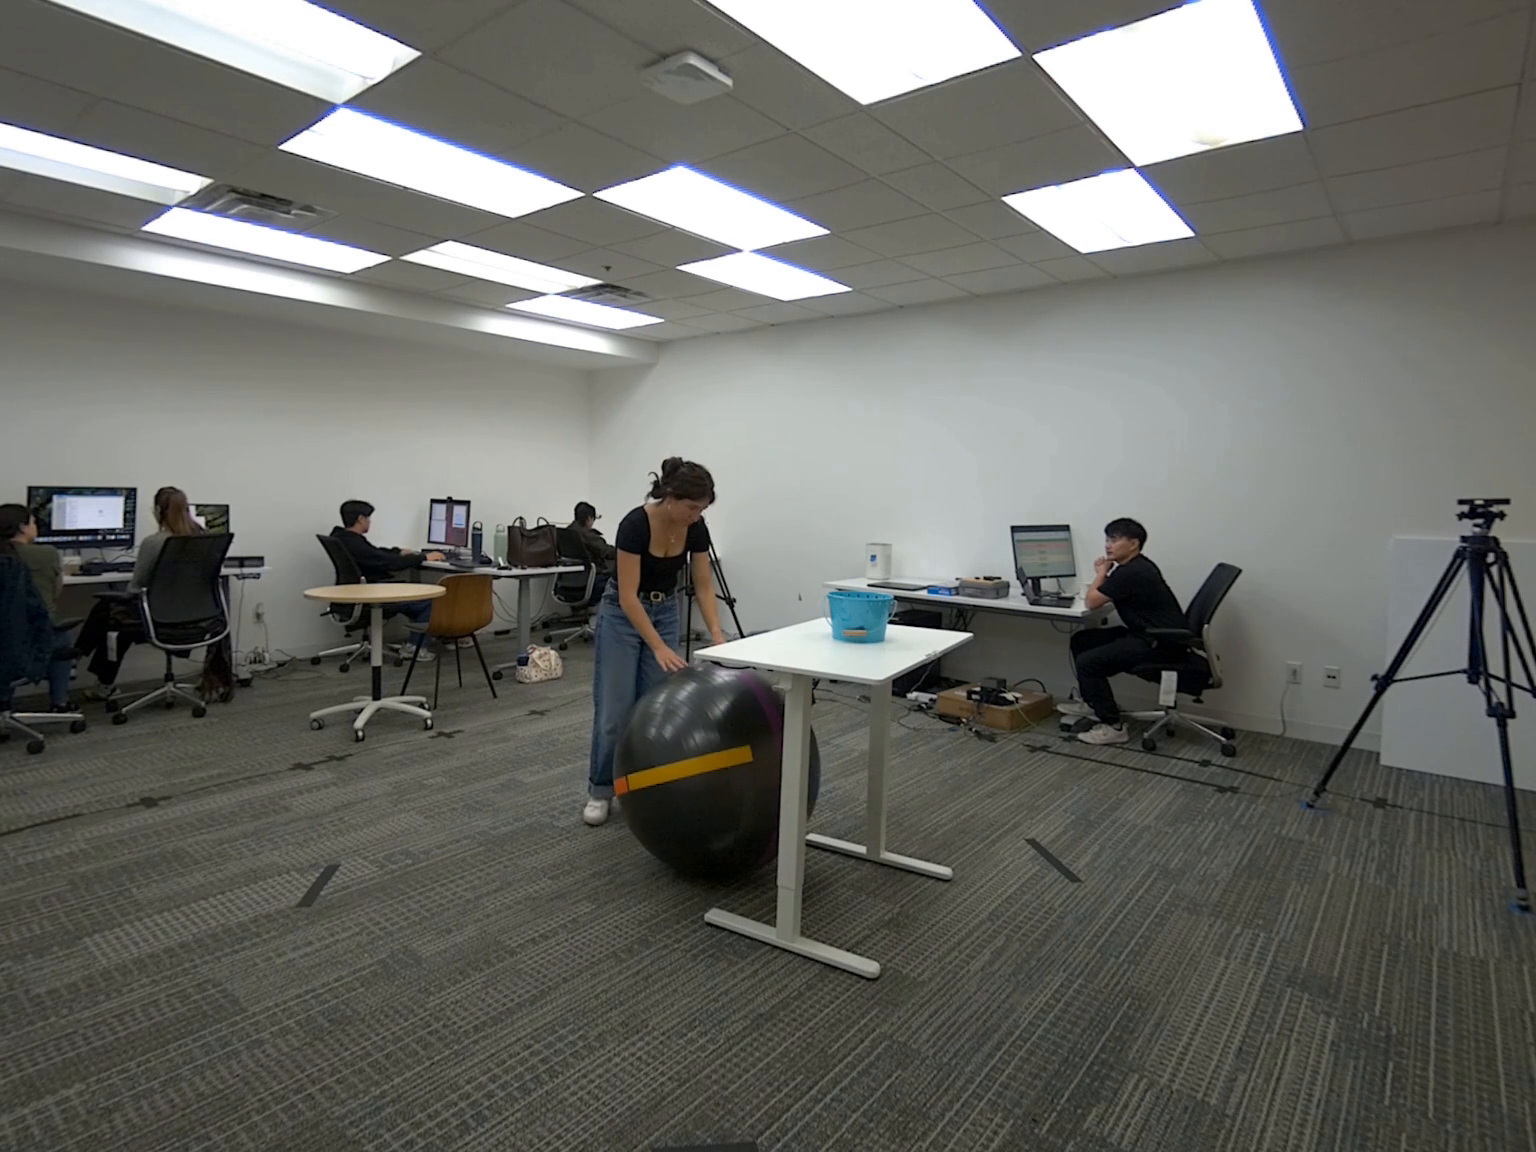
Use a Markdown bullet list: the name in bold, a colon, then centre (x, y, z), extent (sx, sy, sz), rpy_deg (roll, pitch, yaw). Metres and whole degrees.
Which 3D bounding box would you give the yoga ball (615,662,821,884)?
- **yoga ball**: centre (-0.193, 0.699, 3.119), extent (0.757, 0.756, 0.762), rpy_deg (1, 4, -2)
